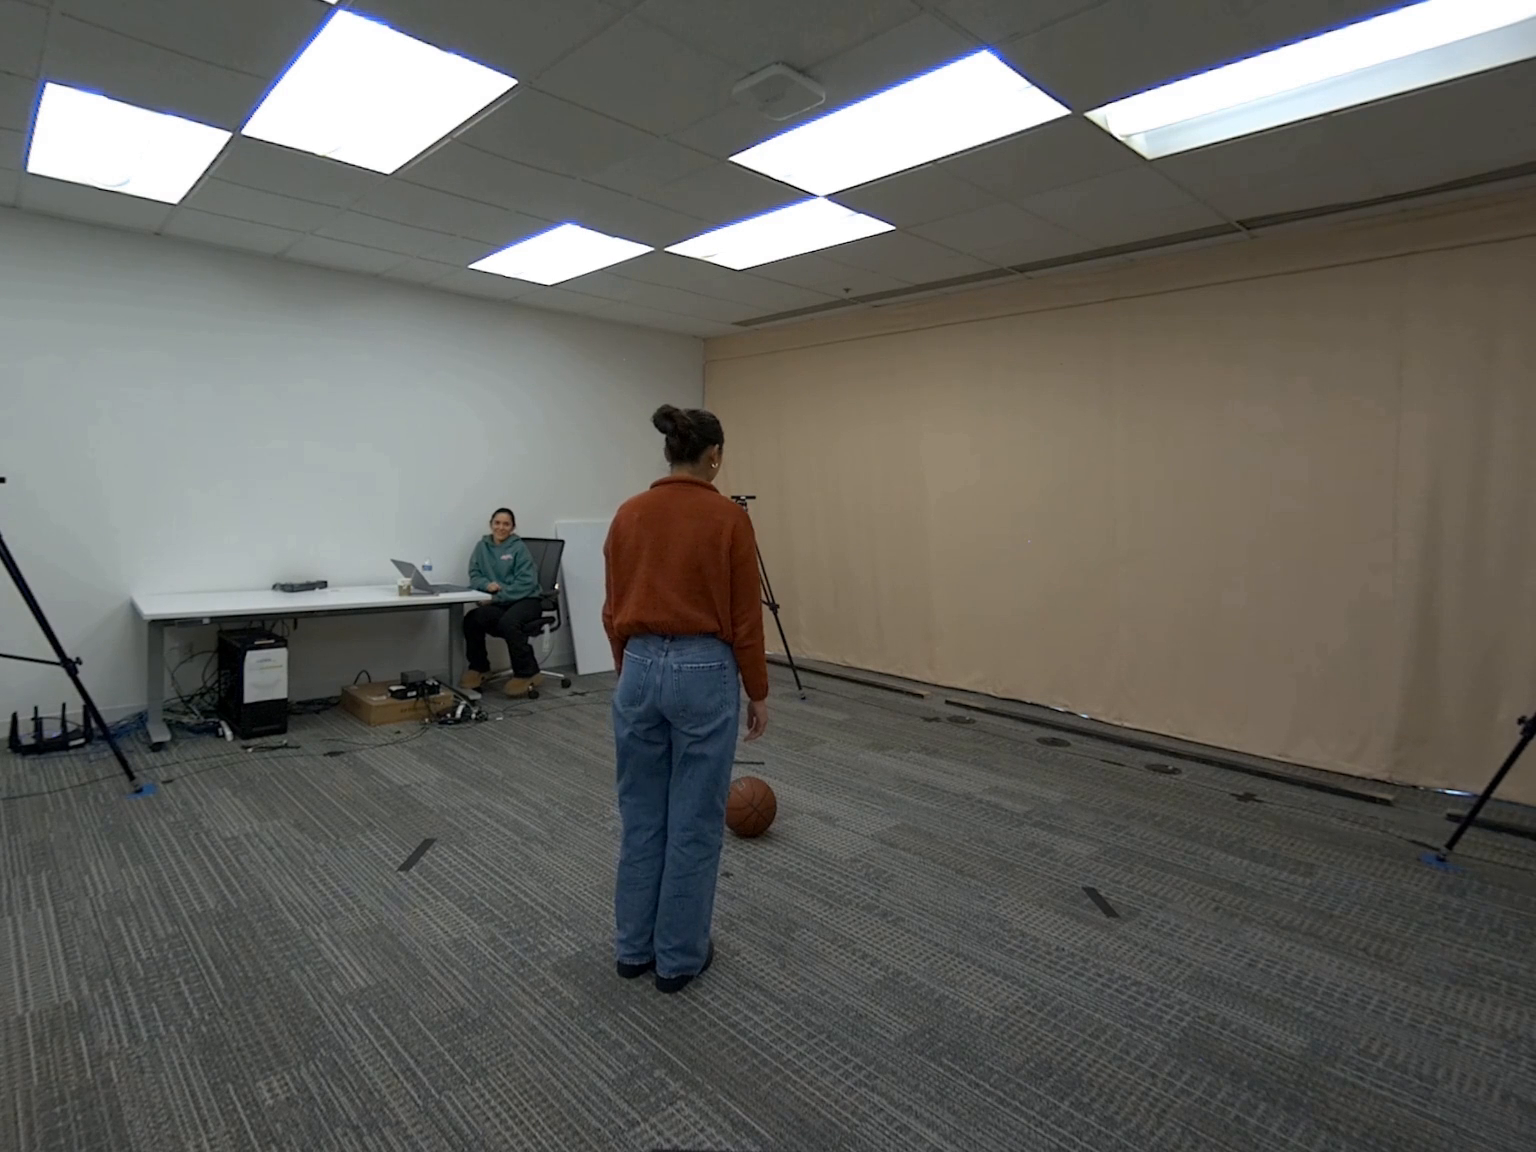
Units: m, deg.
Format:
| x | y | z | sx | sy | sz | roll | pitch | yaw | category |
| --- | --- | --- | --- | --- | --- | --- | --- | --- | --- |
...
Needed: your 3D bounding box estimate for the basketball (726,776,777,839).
| x | y | z | sx | sy | sz | roll | pitch | yaw | category |
| --- | --- | --- | --- | --- | --- | --- | --- | --- | --- |
| -0.093 | 0.947 | 3.478 | 0.236 | 0.235 | 0.237 | 1 | 4 | -1 | basketball |
